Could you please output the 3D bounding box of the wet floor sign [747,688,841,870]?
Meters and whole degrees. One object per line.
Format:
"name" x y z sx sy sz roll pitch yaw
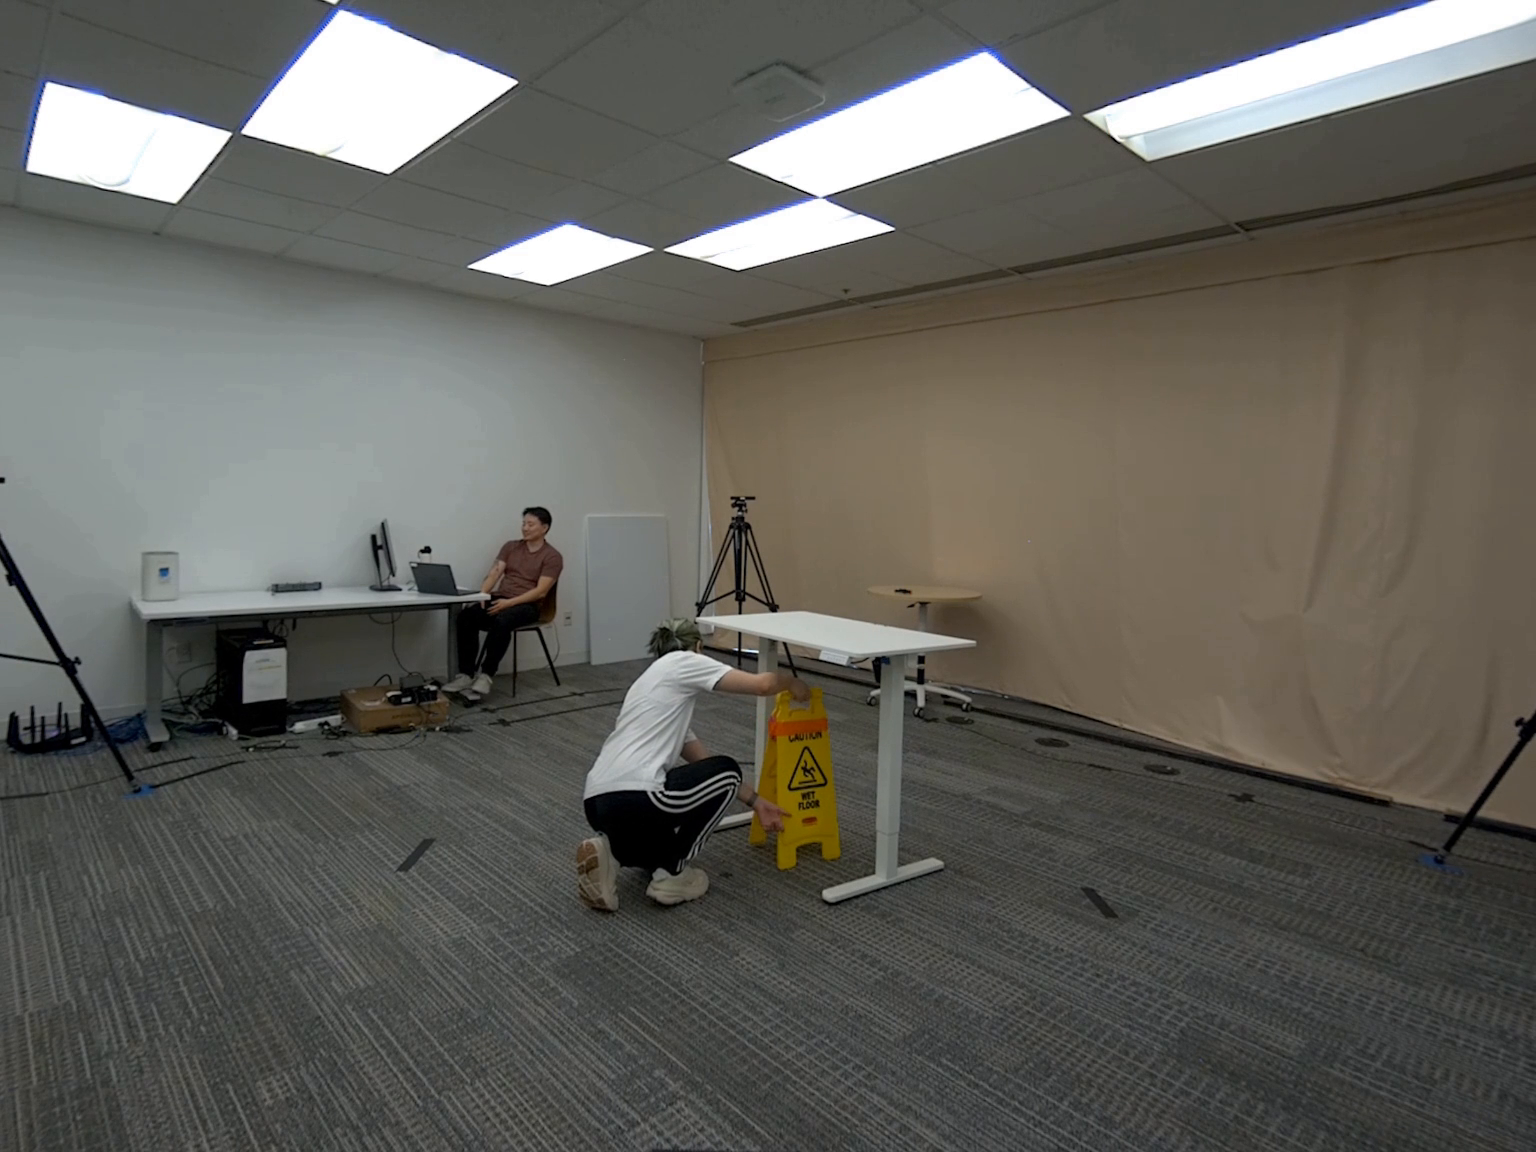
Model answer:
"wet floor sign" 0.108 0.758 3.295 0.277 0.643 0.296 -1 6 -26
